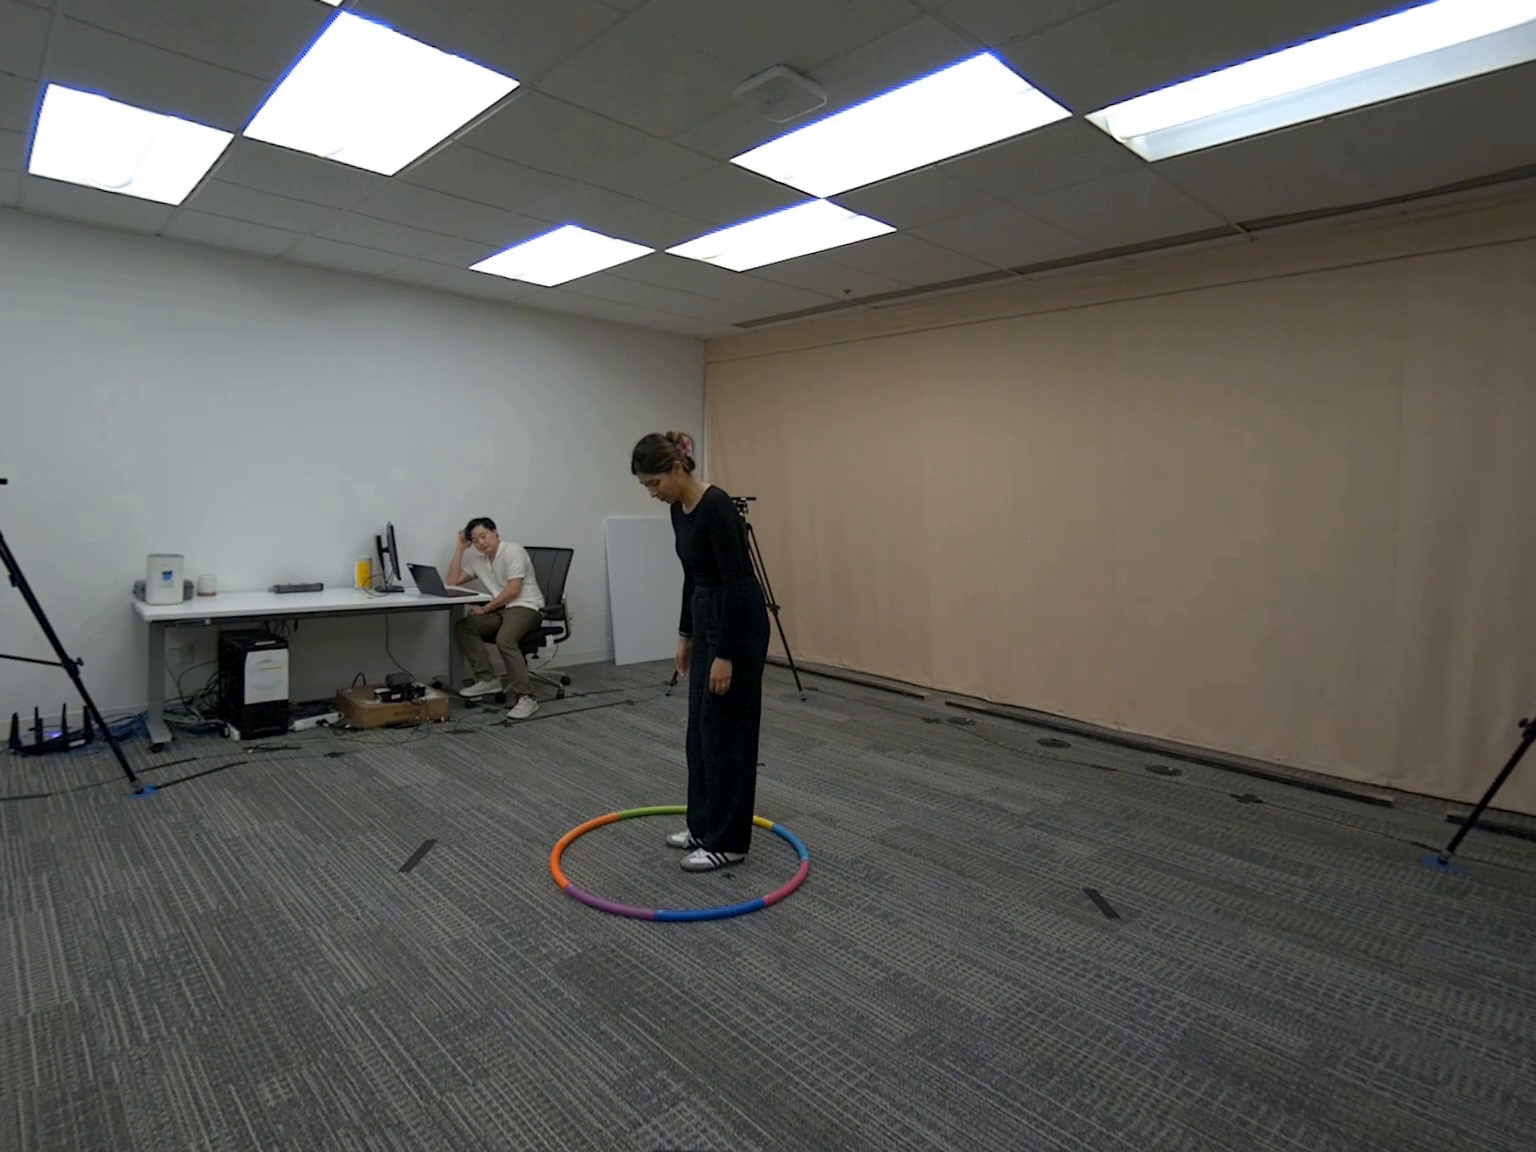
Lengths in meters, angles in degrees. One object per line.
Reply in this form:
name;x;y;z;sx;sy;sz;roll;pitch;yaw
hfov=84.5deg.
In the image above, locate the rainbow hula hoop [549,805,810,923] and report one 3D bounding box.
rainbow hula hoop;-0.339;1.062;3.241;0.978;0.035;0.982;2;5;-1
